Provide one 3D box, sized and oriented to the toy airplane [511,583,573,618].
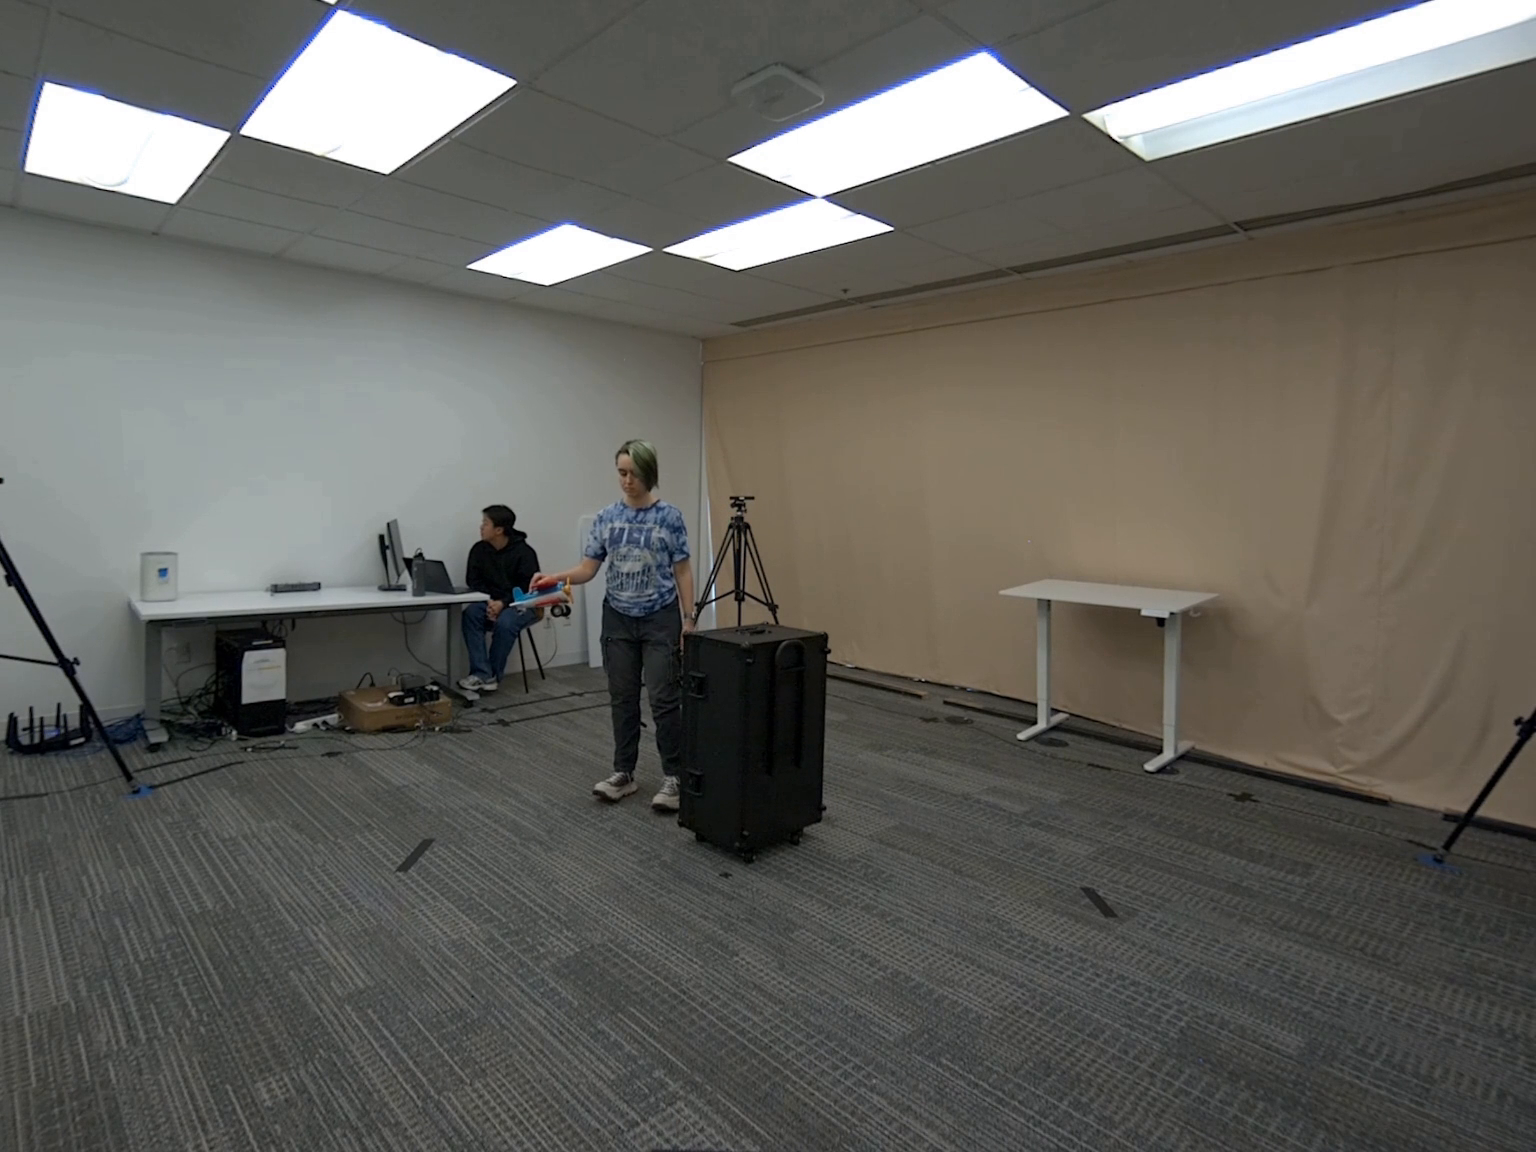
[{"bbox_3d":[-0.976,0.103,3.598,0.255,0.157,0.254,0,-2,-20],"label":"toy airplane"}]
